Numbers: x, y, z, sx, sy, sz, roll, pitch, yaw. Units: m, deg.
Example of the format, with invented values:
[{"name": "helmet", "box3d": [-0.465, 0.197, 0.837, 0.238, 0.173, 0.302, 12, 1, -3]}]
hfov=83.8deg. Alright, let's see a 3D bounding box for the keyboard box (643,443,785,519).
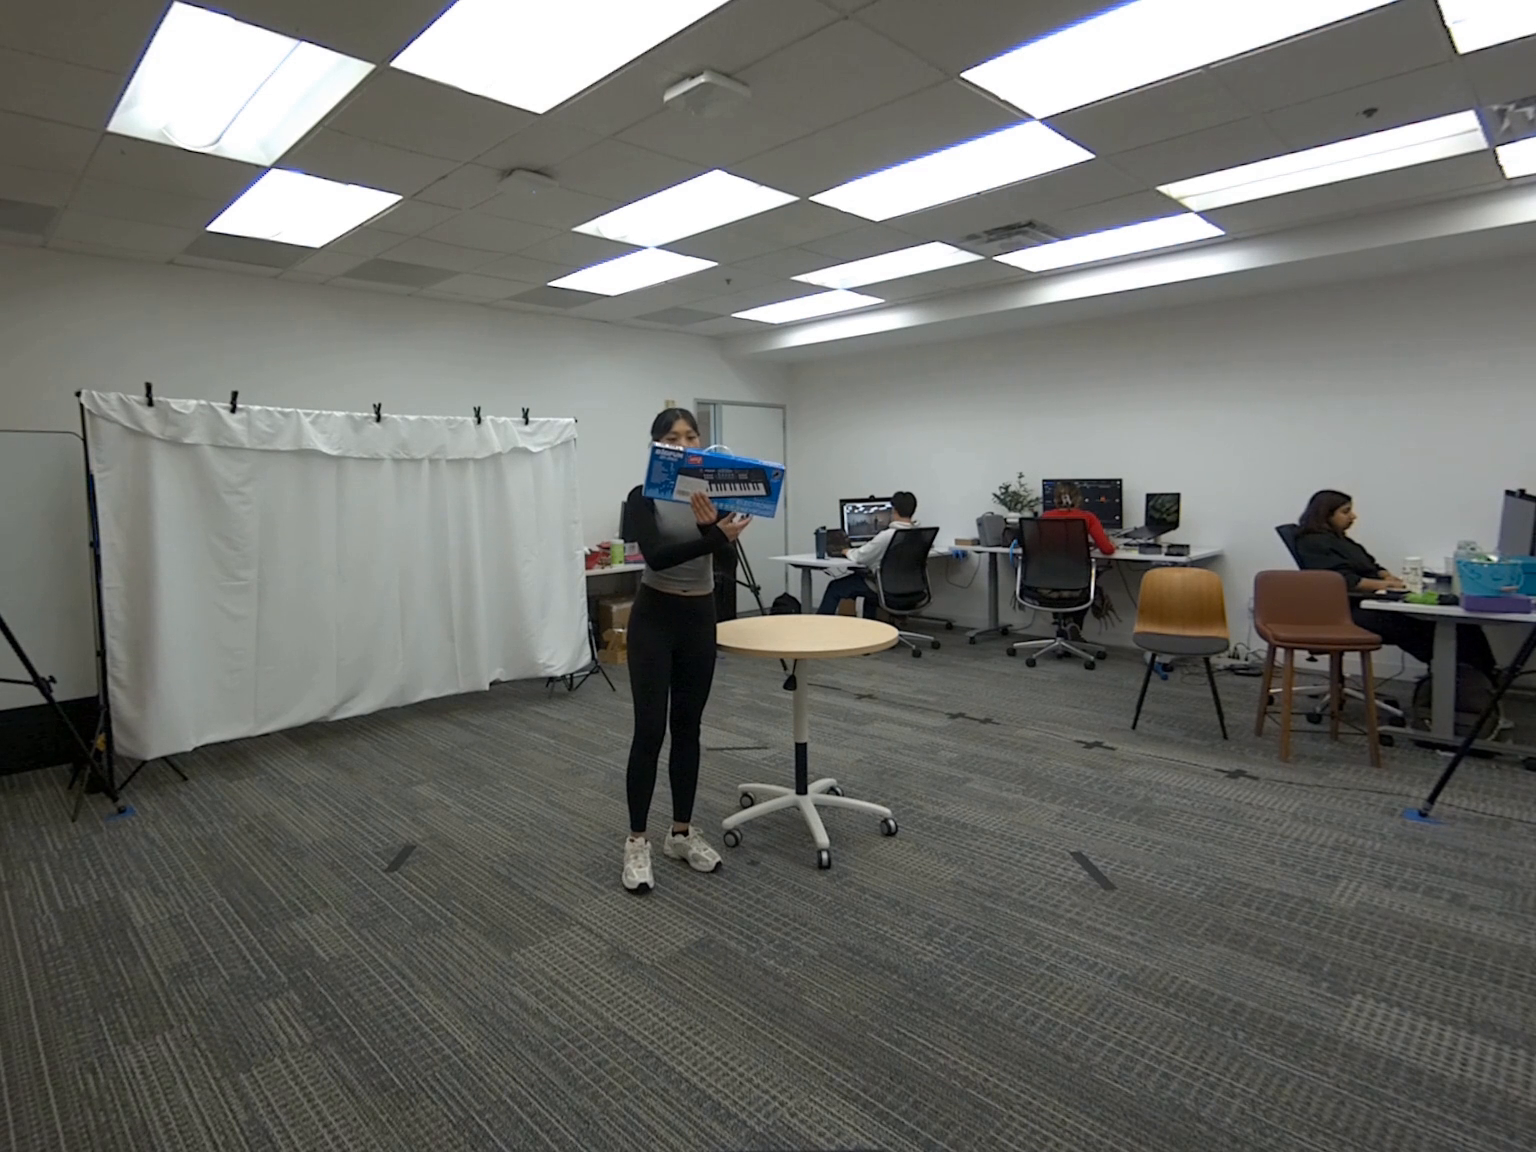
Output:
[{"name": "keyboard box", "box3d": [-0.174, -0.309, 2.762, 0.432, 0.174, 0.060, 8, 17, -10]}]
